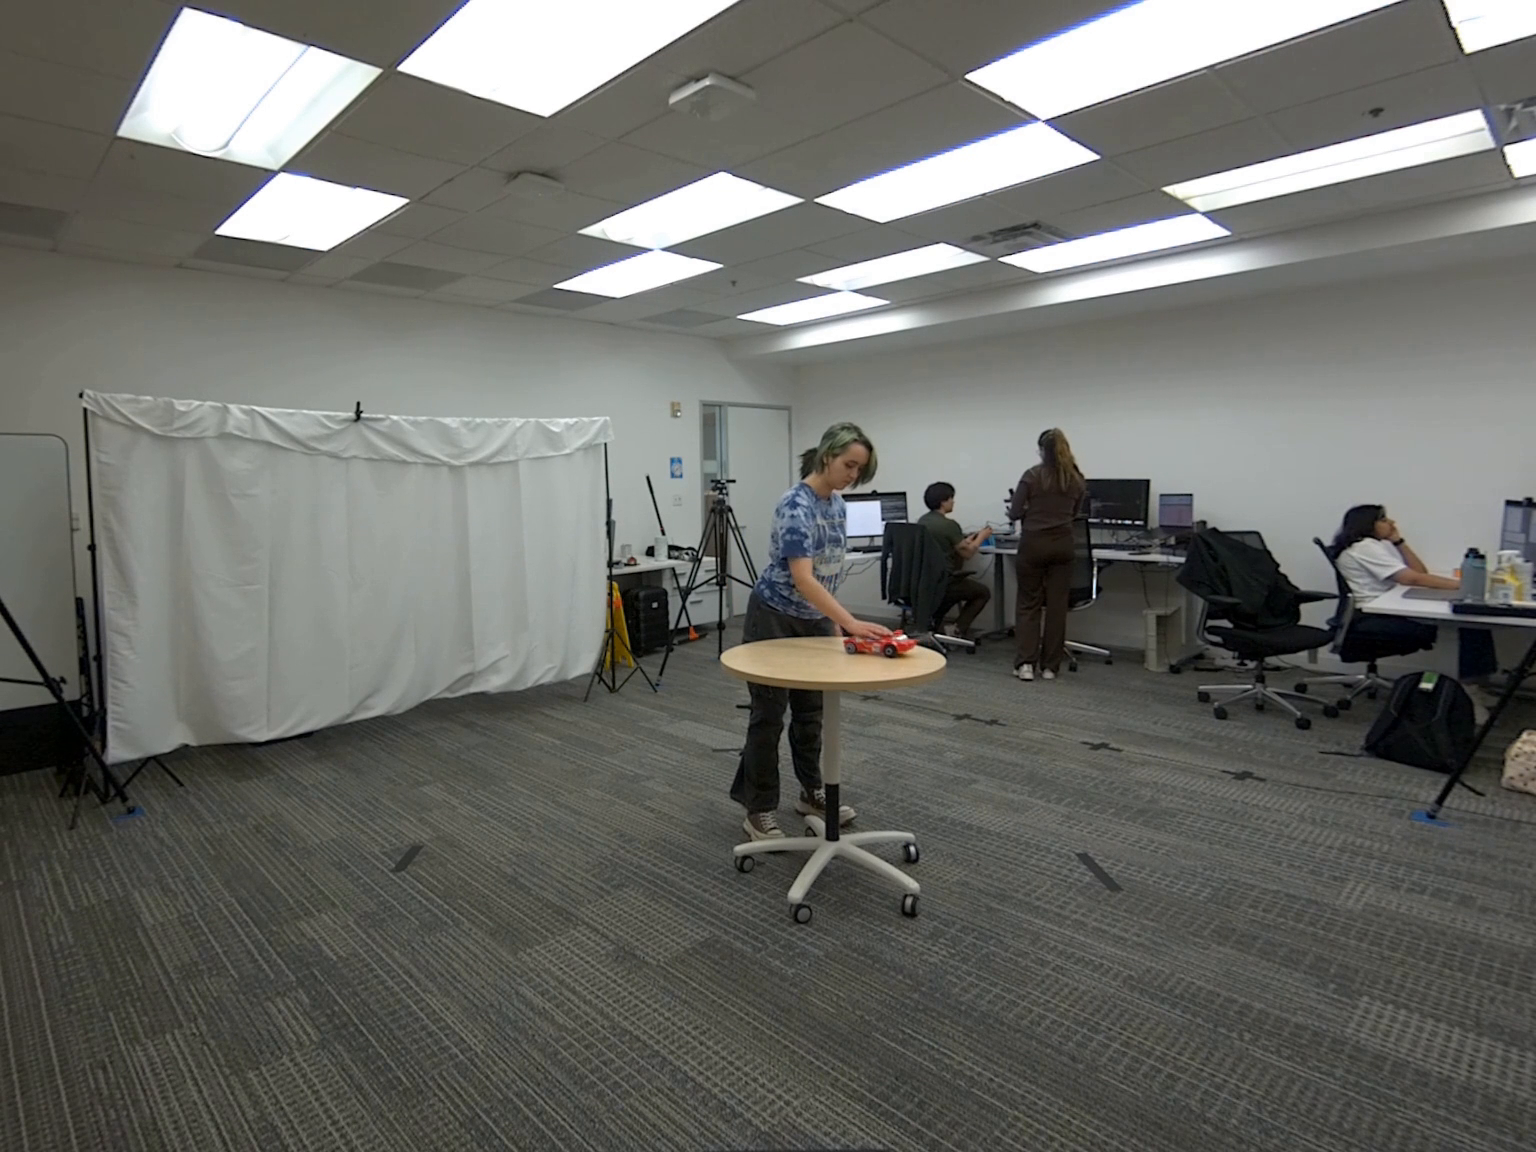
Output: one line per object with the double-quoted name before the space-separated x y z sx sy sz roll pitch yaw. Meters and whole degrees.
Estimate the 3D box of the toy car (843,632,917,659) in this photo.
"toy car" 0.400 0.243 2.975 0.260 0.083 0.127 -10 -2 31
